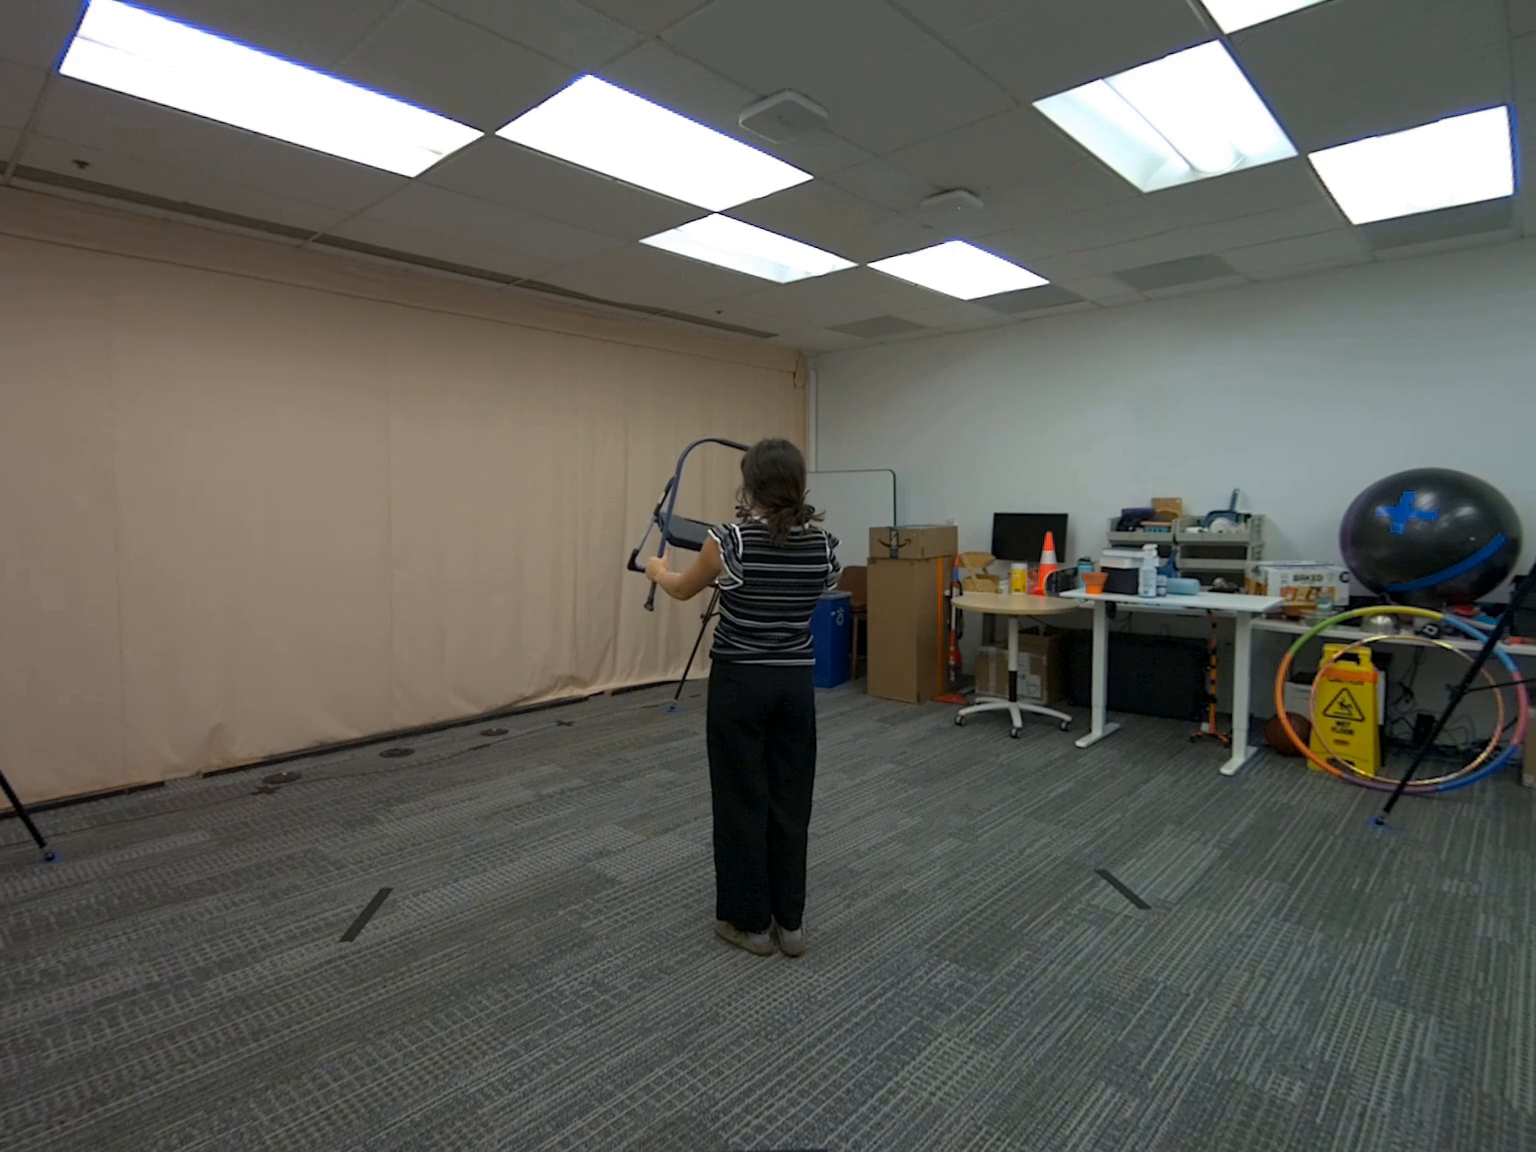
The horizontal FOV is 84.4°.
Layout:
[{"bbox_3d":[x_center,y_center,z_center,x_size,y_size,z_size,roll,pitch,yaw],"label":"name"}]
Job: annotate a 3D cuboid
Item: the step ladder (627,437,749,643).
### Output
[{"bbox_3d":[-0.194,-0.172,3.087,0.419,0.604,0.360,15,19,-26],"label":"step ladder"}]
